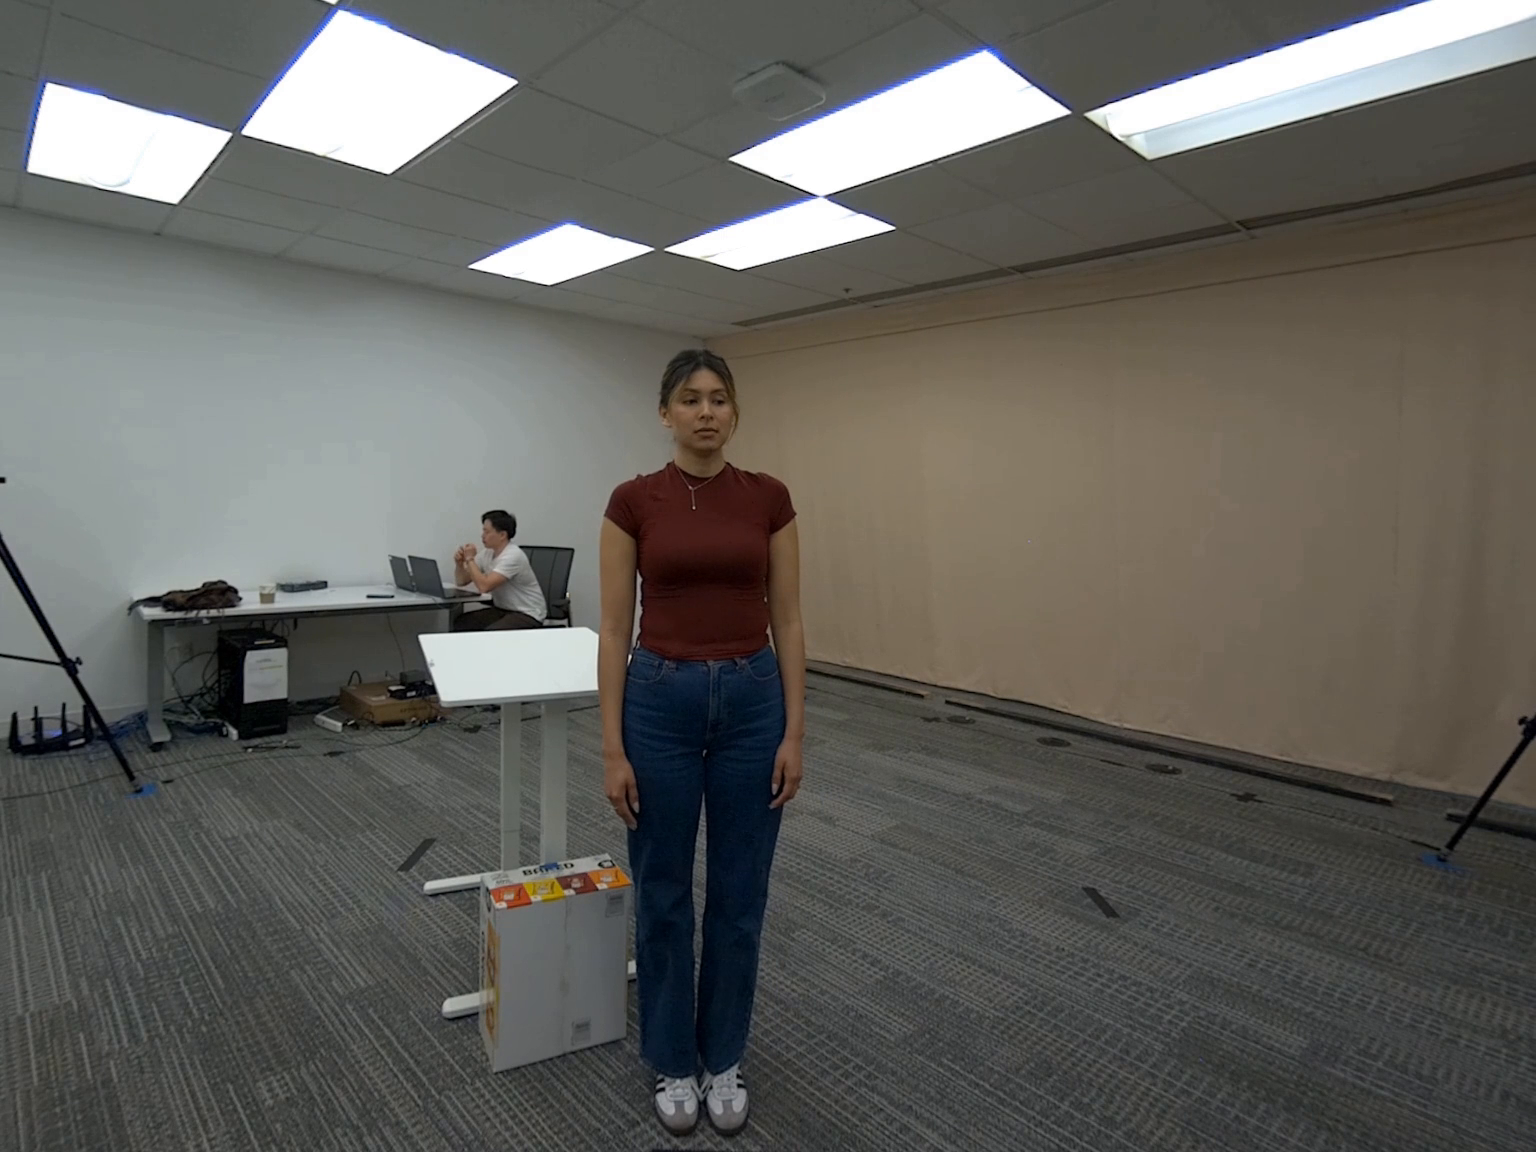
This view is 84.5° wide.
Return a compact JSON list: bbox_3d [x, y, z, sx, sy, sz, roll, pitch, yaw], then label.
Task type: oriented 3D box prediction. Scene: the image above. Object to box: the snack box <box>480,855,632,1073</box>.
[{"bbox_3d":[-0.551,0.971,2.157,0.334,0.404,0.210,0,3,-27],"label":"snack box"}]
